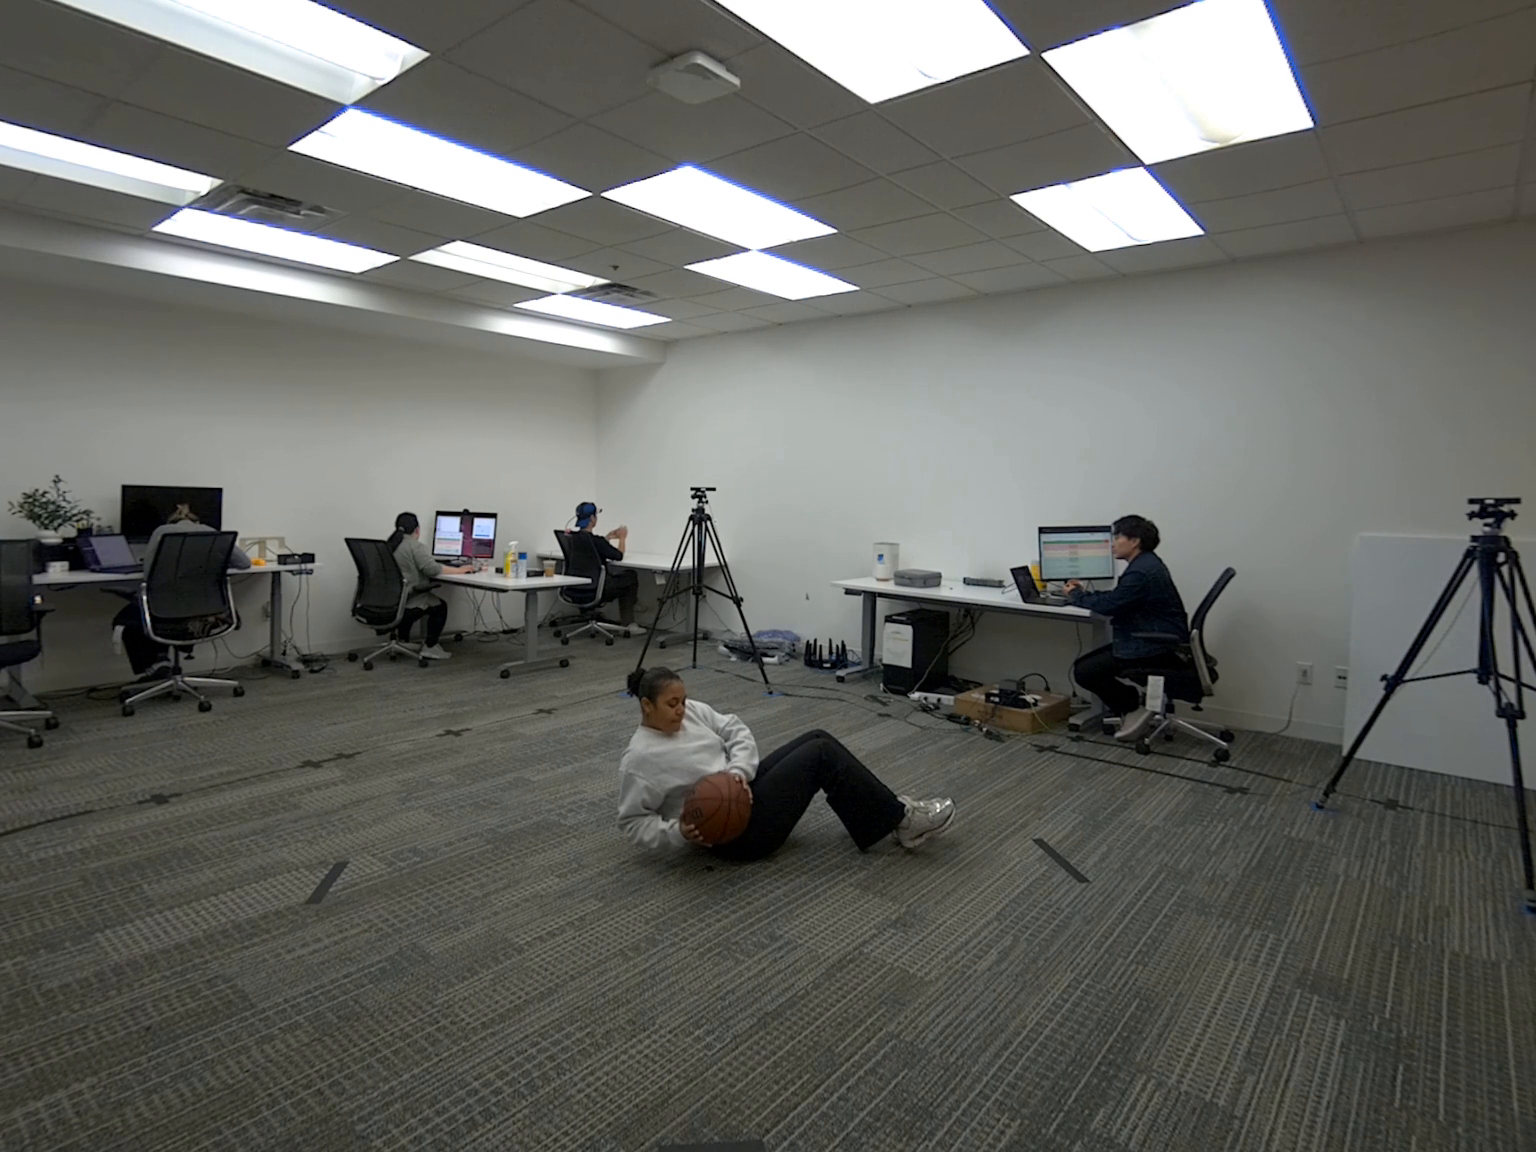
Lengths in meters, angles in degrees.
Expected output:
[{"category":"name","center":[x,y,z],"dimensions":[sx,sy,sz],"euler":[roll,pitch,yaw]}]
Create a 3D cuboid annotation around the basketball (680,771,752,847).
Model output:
[{"category":"basketball","center":[-0.180,0.805,3.023],"dimensions":[0.235,0.235,0.237],"euler":[1,4,-2]}]
